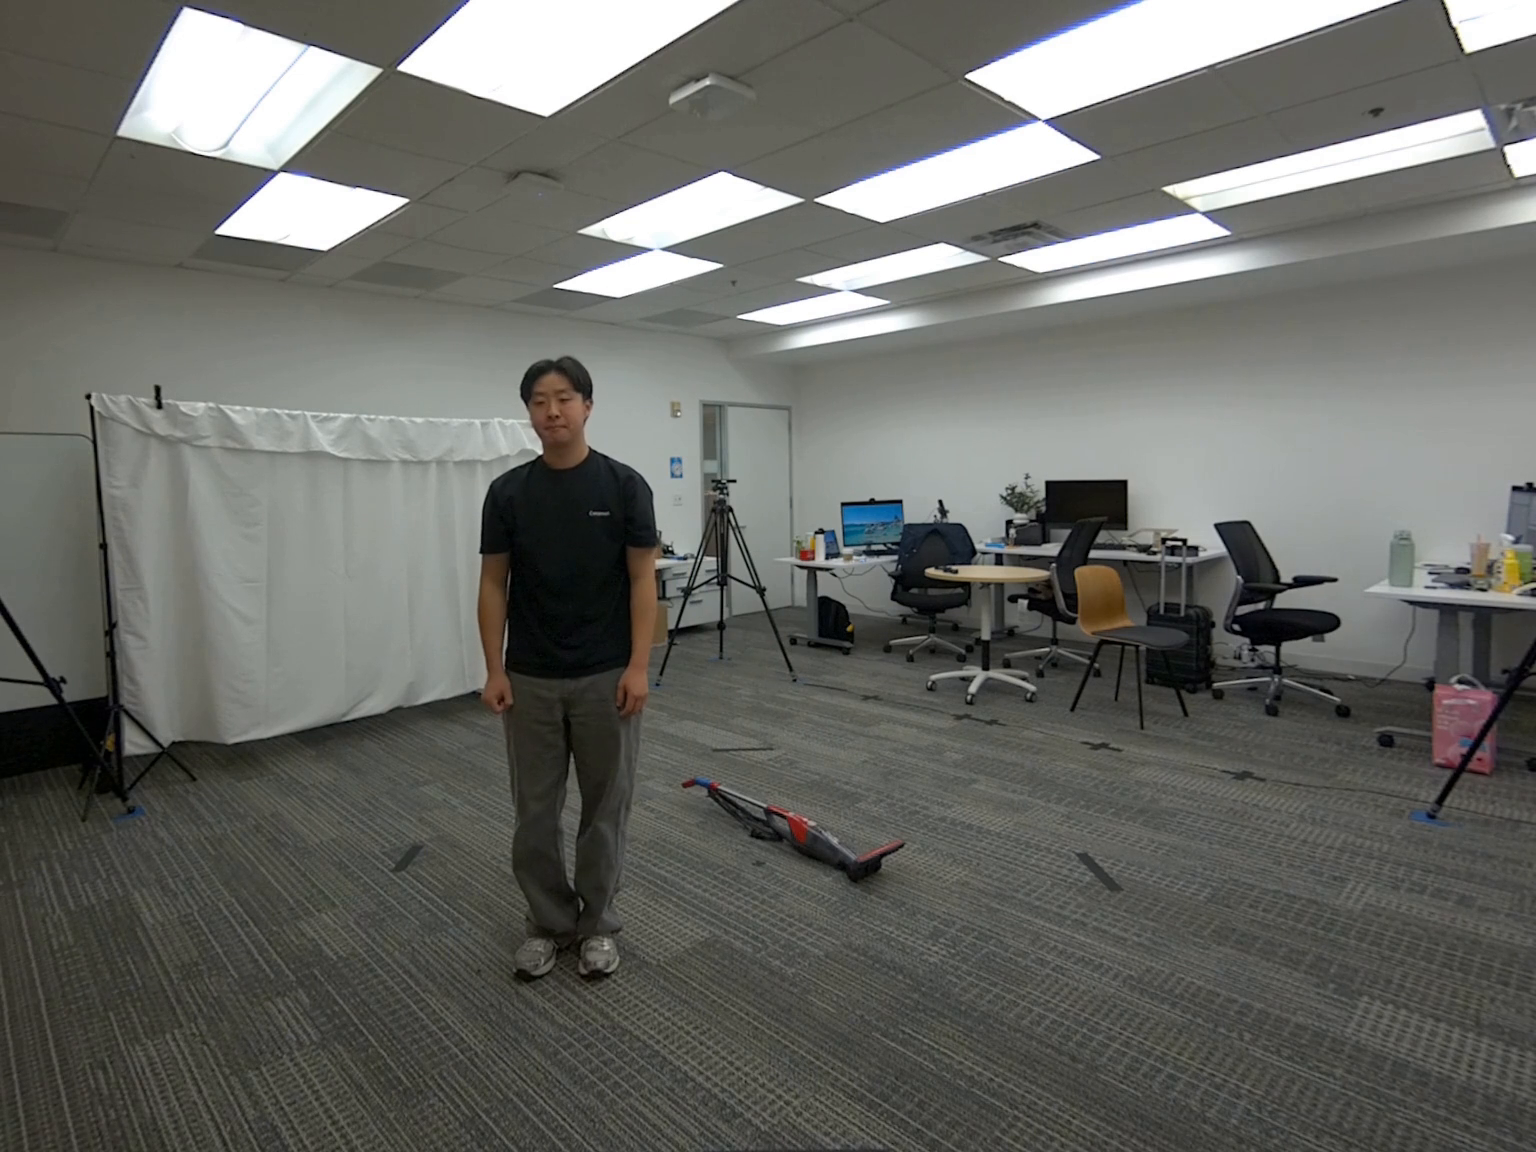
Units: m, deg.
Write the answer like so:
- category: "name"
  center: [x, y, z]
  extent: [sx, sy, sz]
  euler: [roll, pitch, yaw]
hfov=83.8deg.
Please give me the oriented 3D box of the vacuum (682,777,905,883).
- category: "vacuum"
  center: [0.007, 0.964, 3.350]
  extent: [0.246, 0.143, 1.082]
  euler: [-5, 7, -42]
